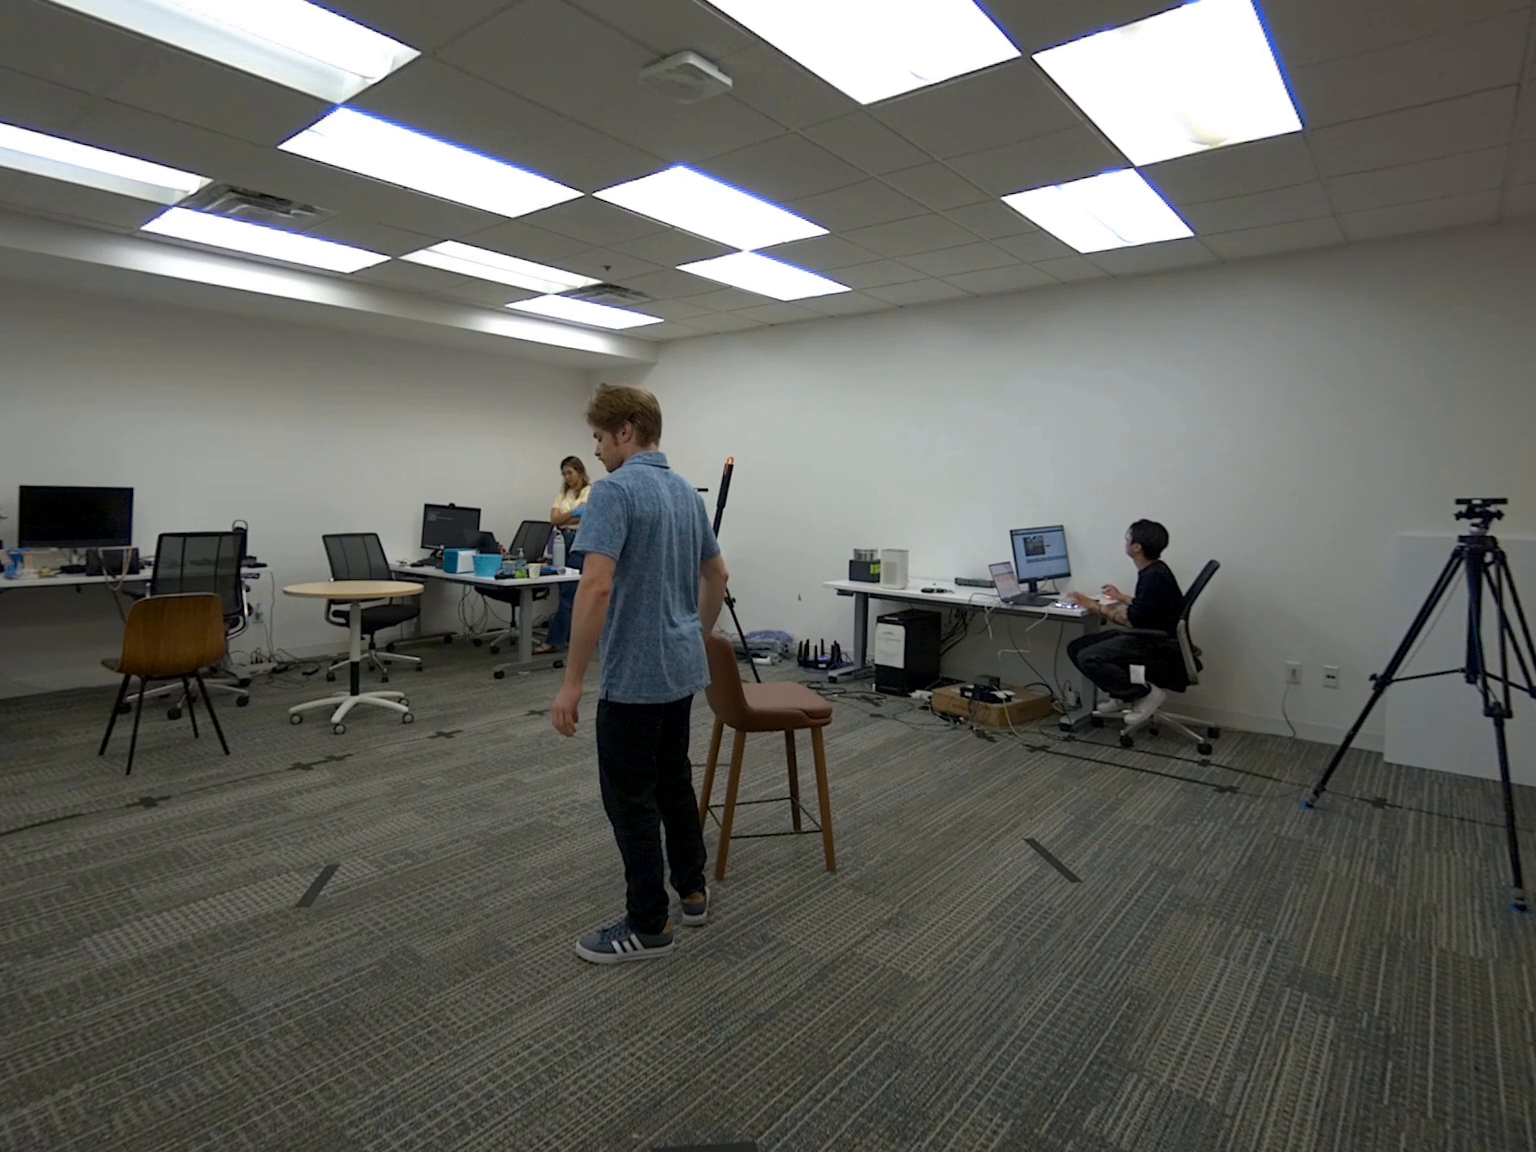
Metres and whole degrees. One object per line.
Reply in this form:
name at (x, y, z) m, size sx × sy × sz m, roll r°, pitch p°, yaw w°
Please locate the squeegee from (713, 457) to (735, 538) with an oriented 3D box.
squeegee at (-0.314, 0.291, 3.168) m, size 0.054 × 1.536 × 0.432 m, roll 10°, pitch 1°, yaw 10°
